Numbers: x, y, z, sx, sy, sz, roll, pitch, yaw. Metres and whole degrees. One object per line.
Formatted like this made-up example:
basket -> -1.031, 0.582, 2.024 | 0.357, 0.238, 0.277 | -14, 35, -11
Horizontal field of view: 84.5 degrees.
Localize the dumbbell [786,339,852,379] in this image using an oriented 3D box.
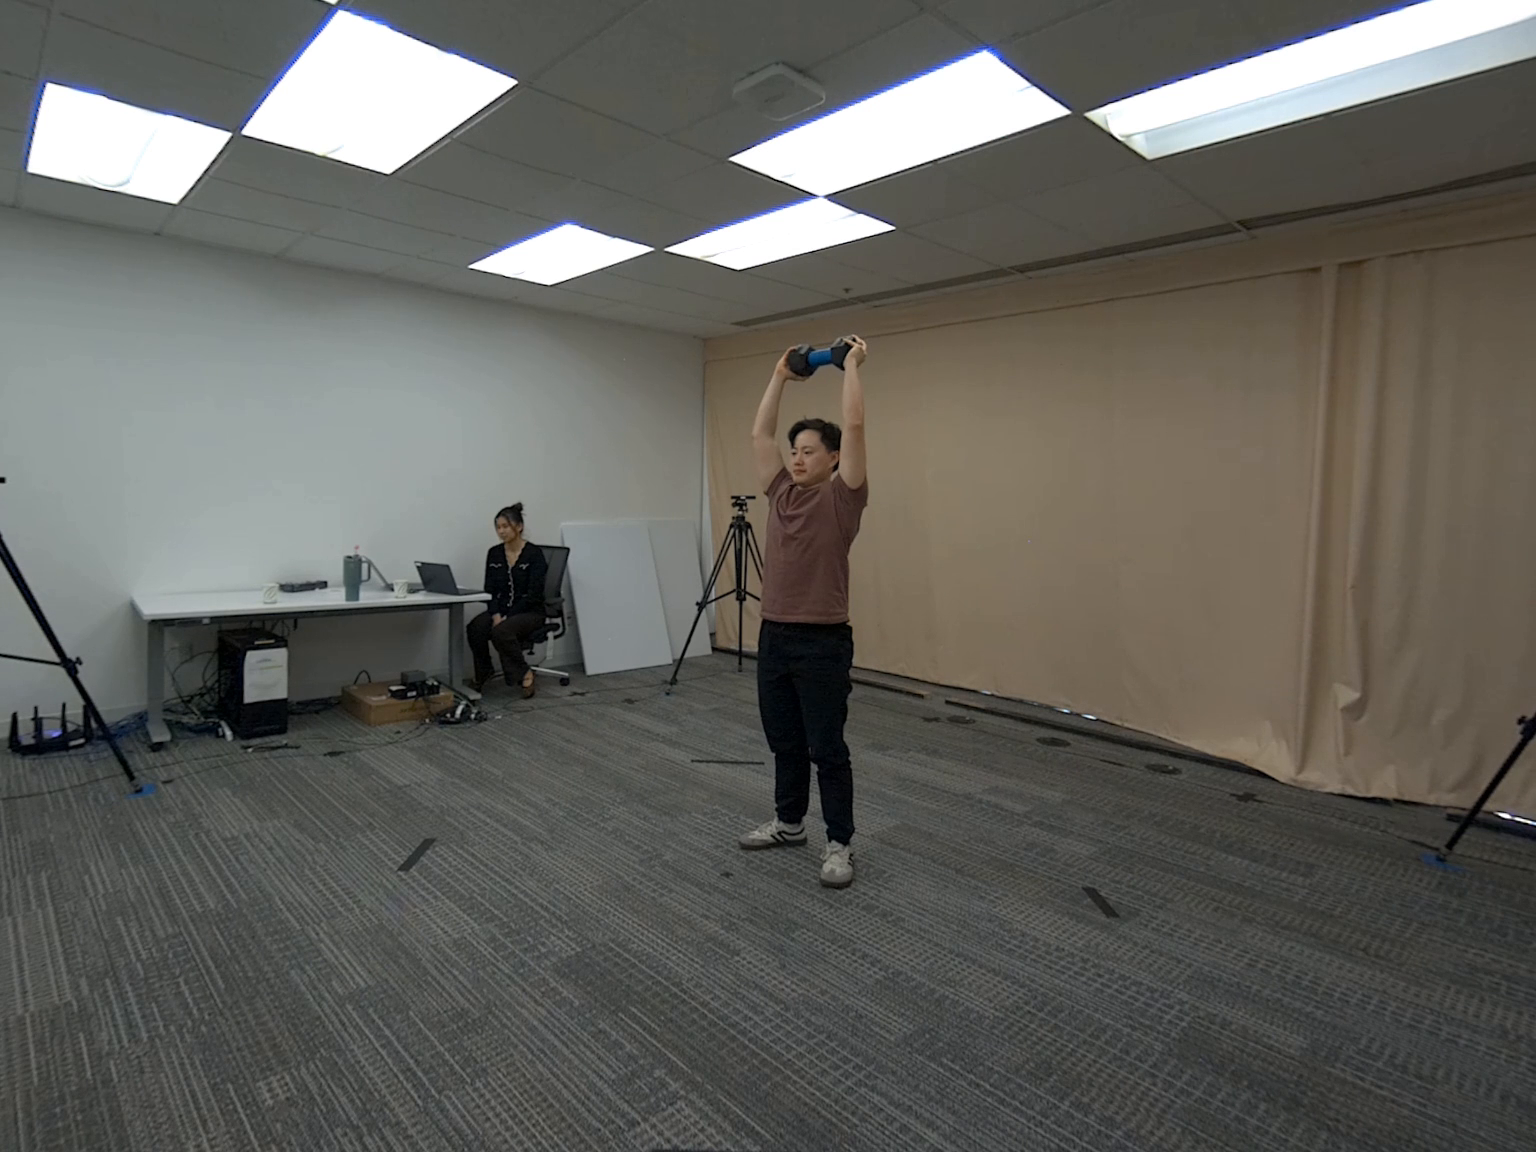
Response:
dumbbell -> 0.210, -0.838, 3.216 | 0.301, 0.106, 0.123 | 4, 47, 45
